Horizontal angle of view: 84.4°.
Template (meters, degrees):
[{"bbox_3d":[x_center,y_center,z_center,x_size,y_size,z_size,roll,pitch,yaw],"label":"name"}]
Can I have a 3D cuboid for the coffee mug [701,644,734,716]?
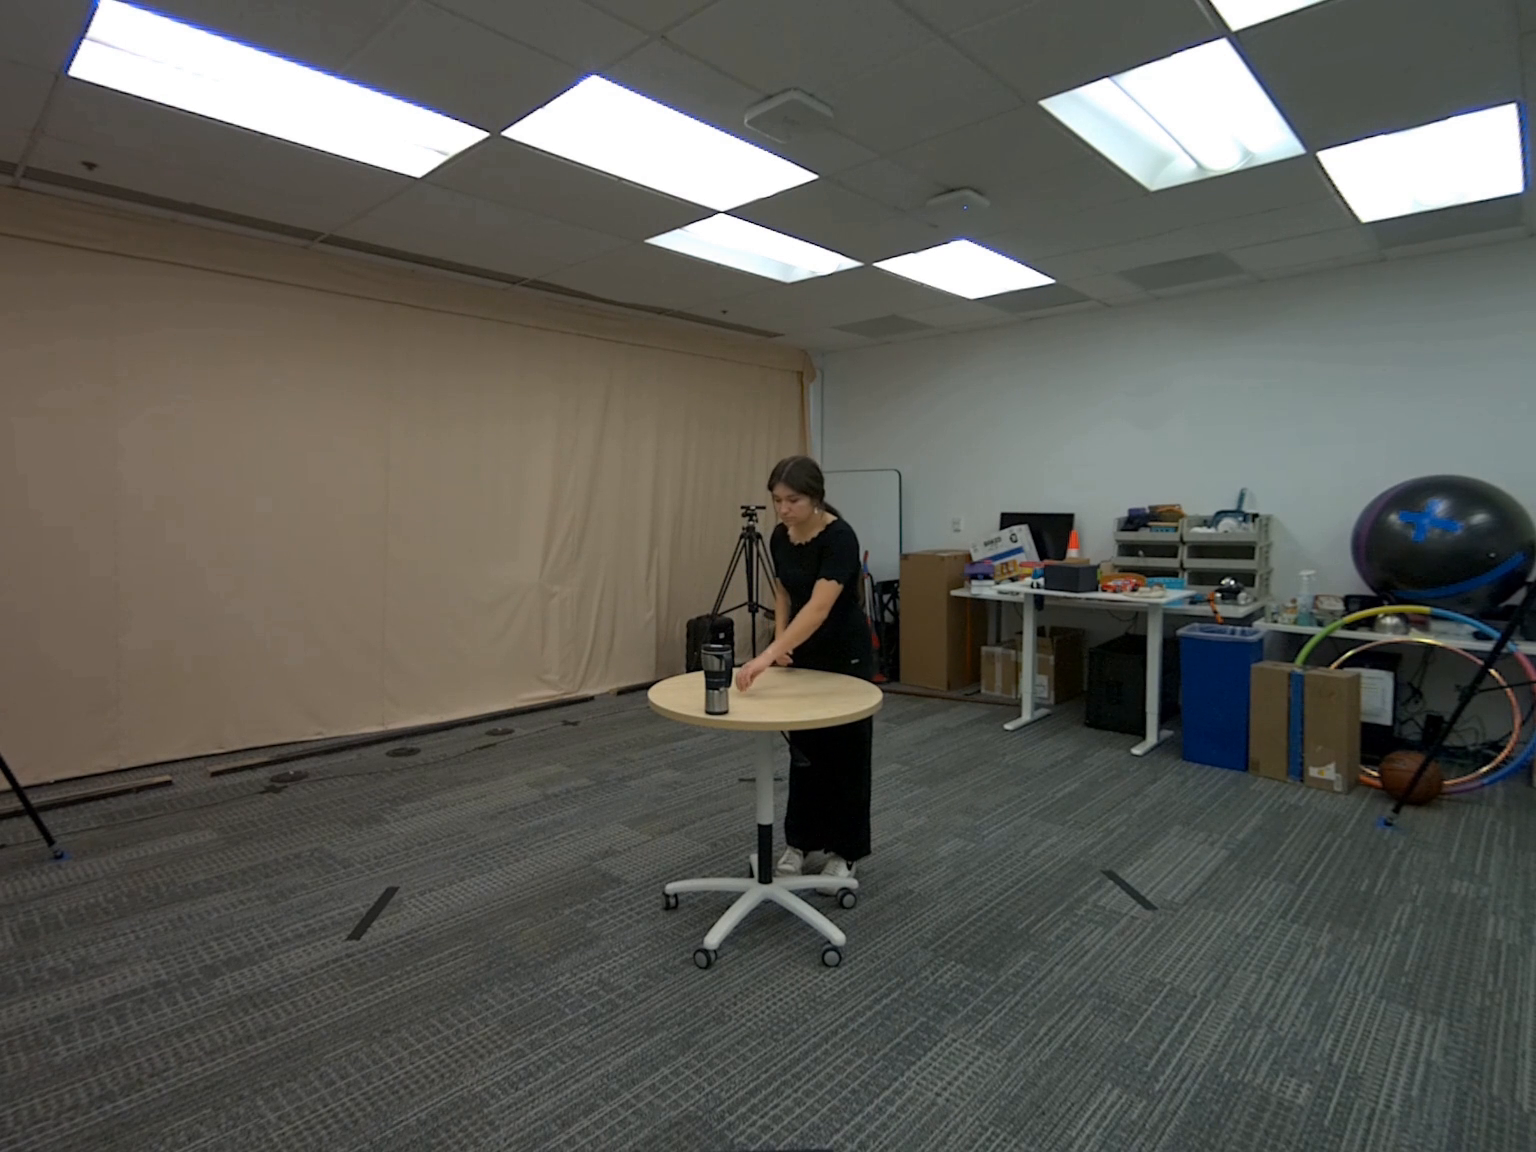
[{"bbox_3d":[-0.147,0.309,2.465,0.089,0.203,0.120,5,1,12],"label":"coffee mug"}]
